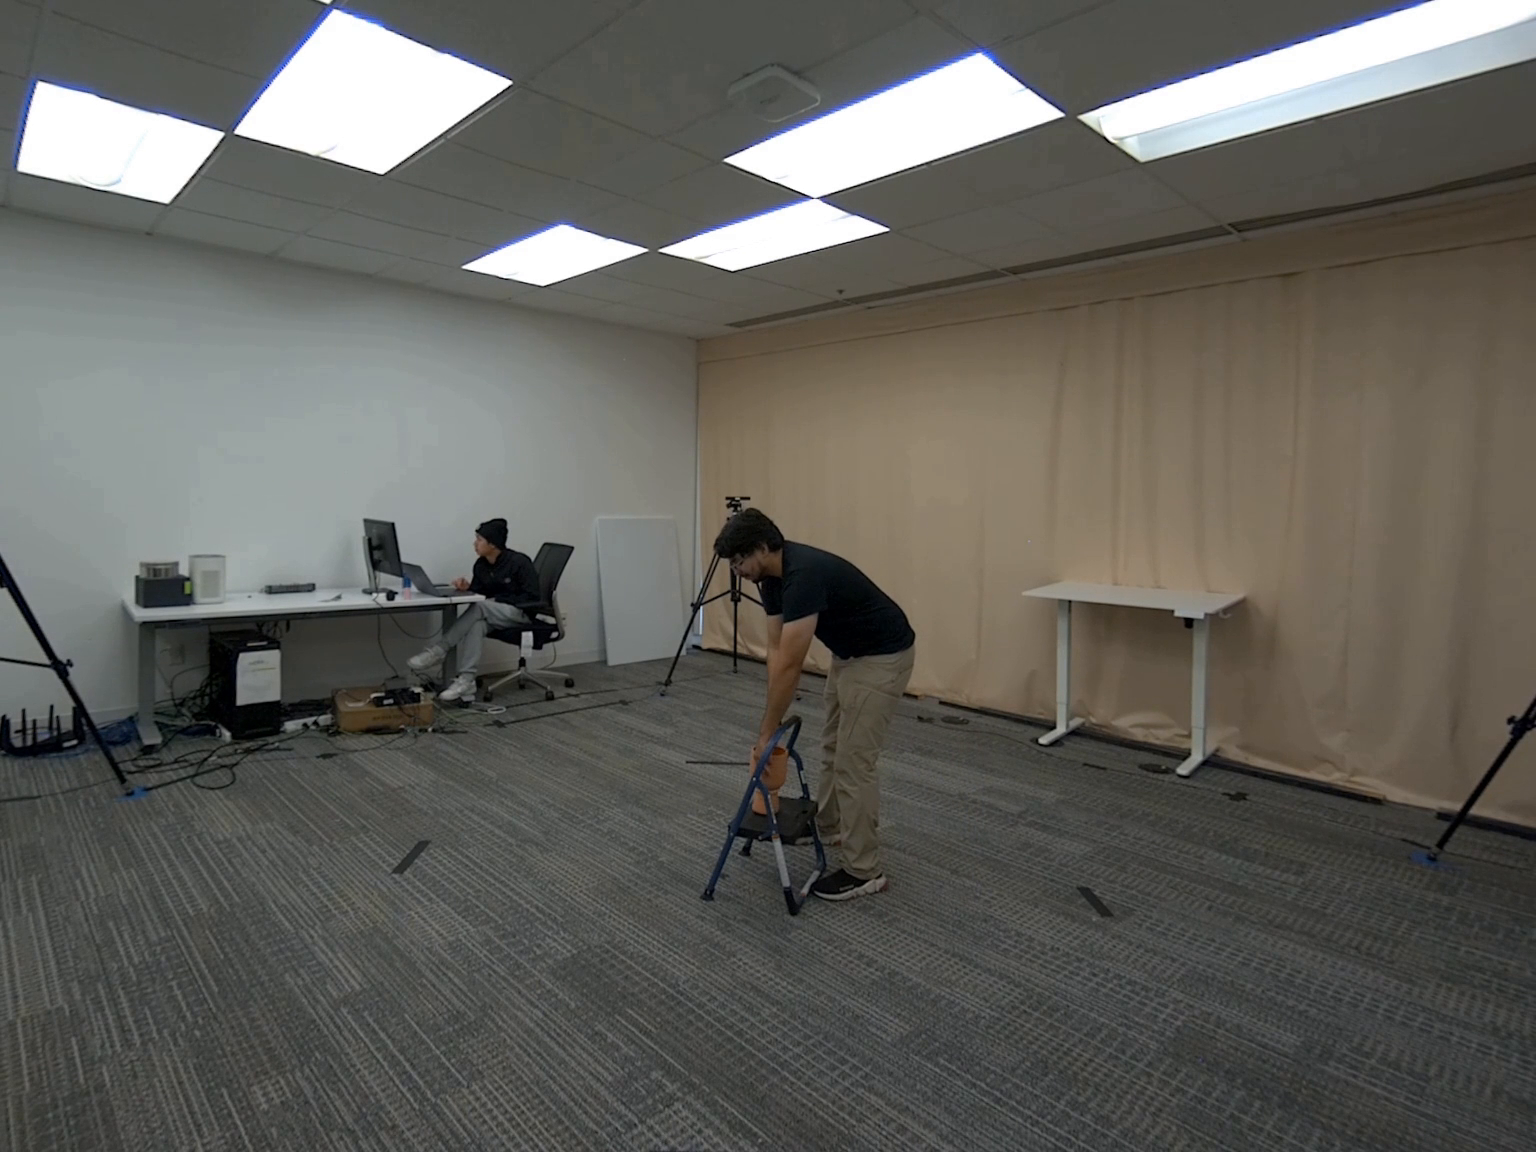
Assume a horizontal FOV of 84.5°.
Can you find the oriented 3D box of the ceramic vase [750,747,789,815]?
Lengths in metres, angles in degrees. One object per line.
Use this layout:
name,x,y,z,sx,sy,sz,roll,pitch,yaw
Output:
ceramic vase,-0.002,0.734,3.036,0.155,0.219,0.138,-1,7,-45
